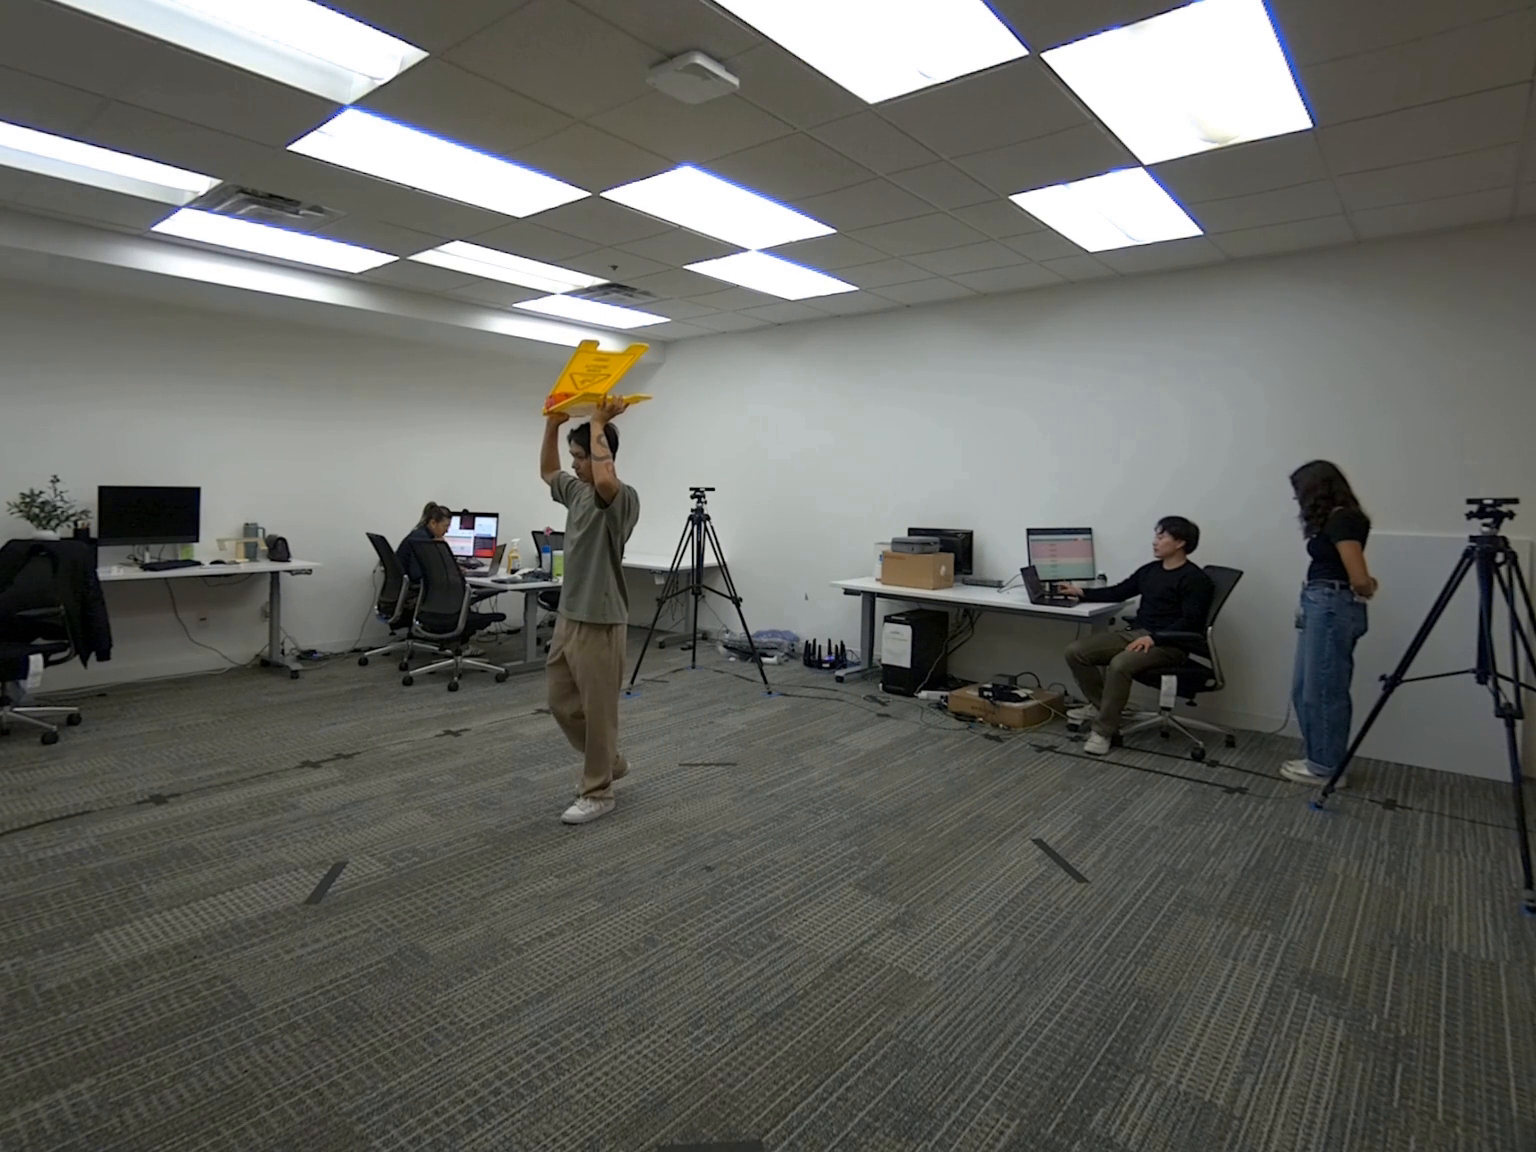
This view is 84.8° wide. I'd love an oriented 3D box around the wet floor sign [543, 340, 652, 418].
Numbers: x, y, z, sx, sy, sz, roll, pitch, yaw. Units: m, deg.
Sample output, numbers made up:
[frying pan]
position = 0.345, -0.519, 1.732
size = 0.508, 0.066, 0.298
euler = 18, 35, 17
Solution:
[wet floor sign]
position = -0.758, -0.756, 3.501
size = 0.275, 0.291, 0.661
euler = -5, -3, -34
